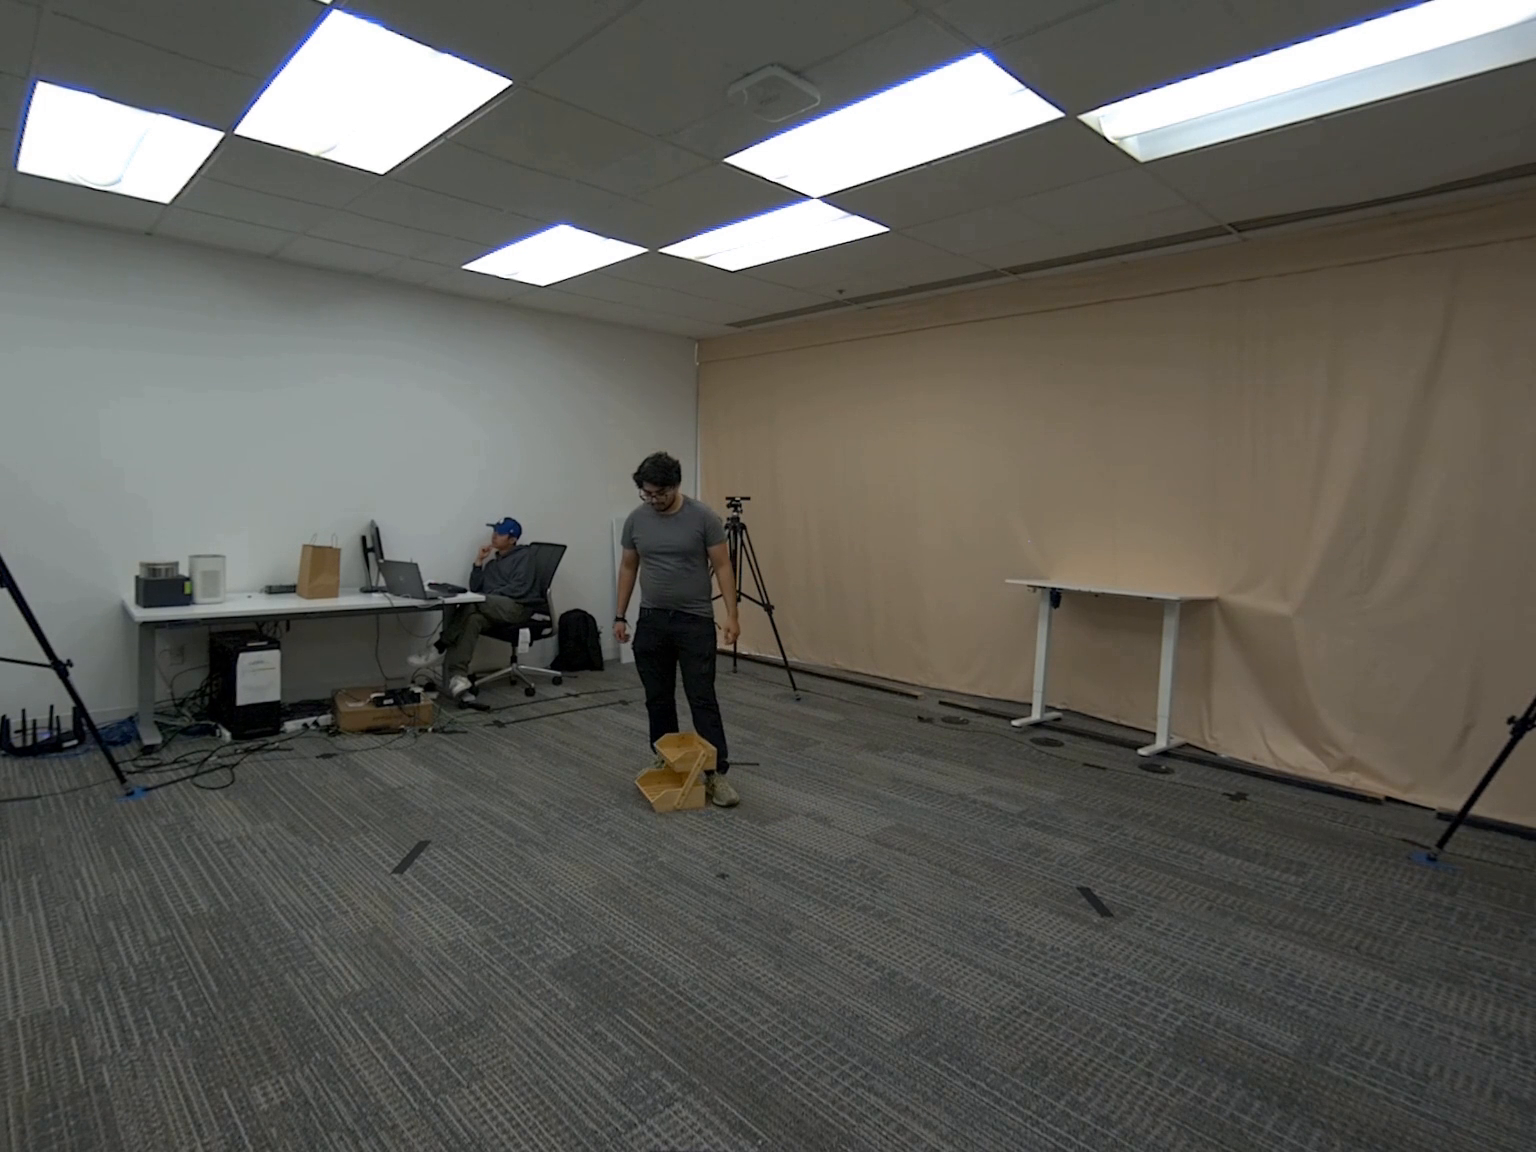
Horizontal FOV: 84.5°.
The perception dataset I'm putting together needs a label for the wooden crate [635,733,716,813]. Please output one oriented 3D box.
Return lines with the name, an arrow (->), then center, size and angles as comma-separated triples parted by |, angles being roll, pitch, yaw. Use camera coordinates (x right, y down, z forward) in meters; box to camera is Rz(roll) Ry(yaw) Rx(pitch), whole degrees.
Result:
wooden crate -> -0.448, 0.896, 3.901 | 0.297, 0.273, 0.331 | 0, 4, -23
